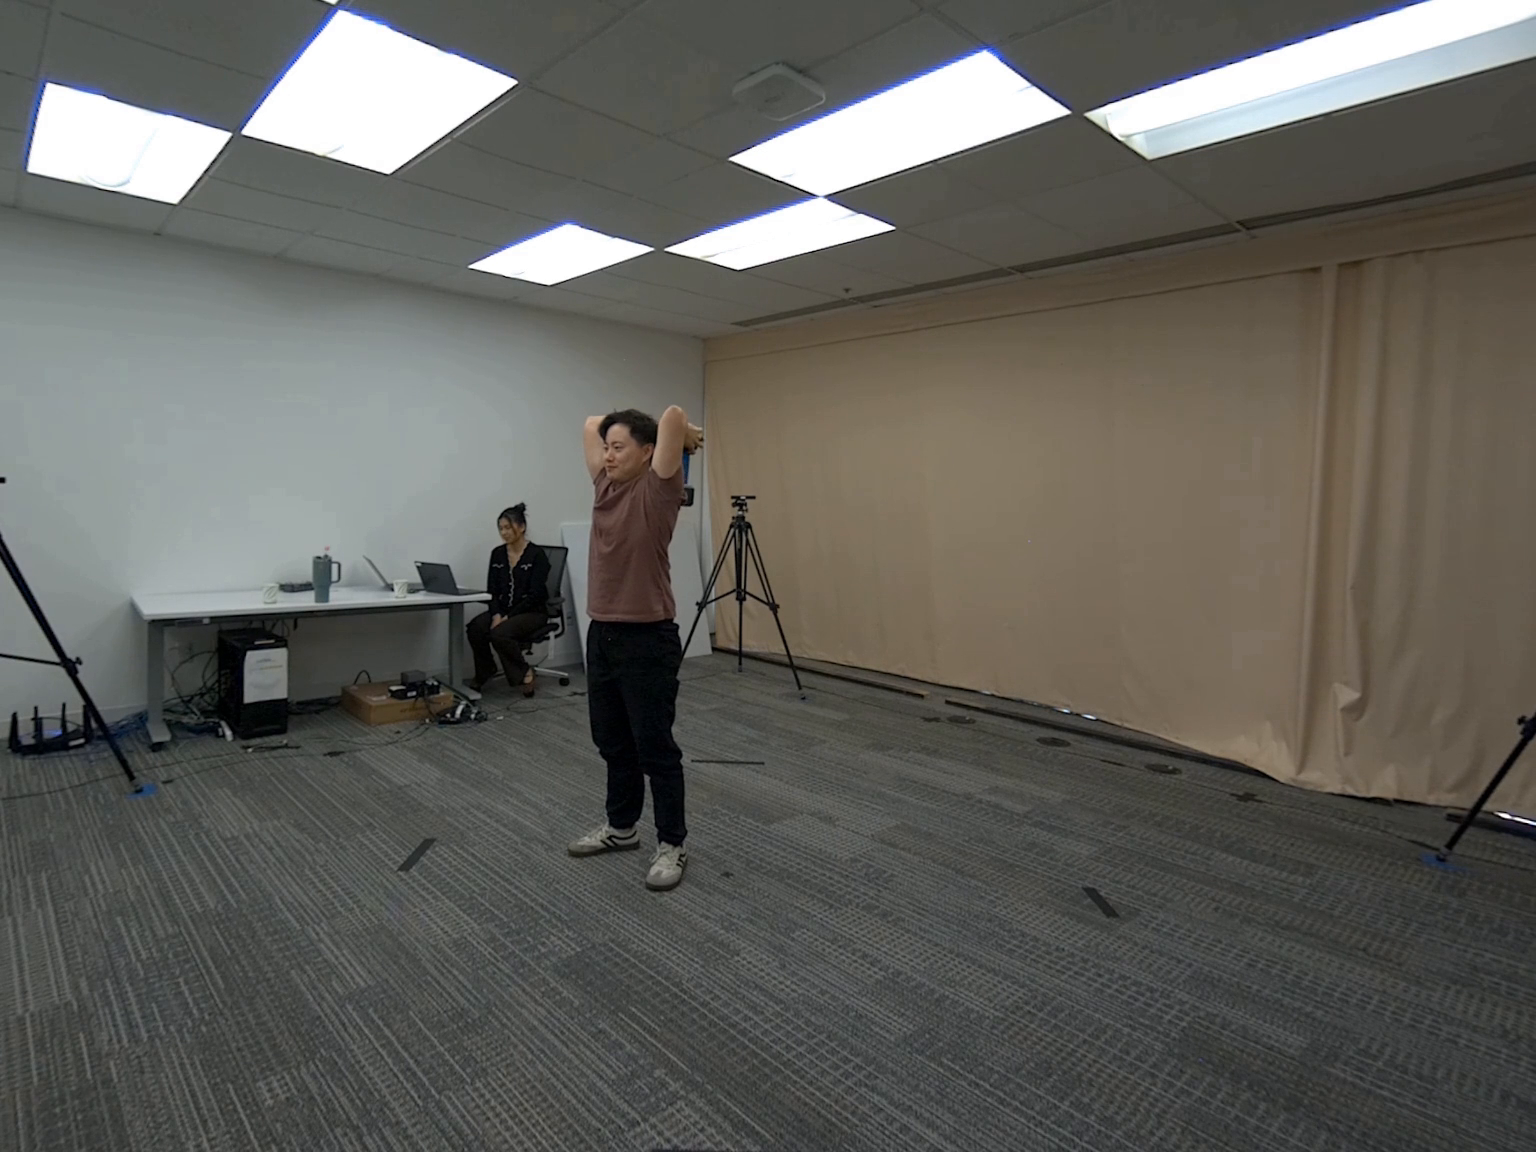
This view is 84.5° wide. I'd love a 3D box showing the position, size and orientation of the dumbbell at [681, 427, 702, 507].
[{"bbox_3d":[-0.344,-0.419,3.219,0.120,0.293,0.111,1,5,-36],"label":"dumbbell"}]
